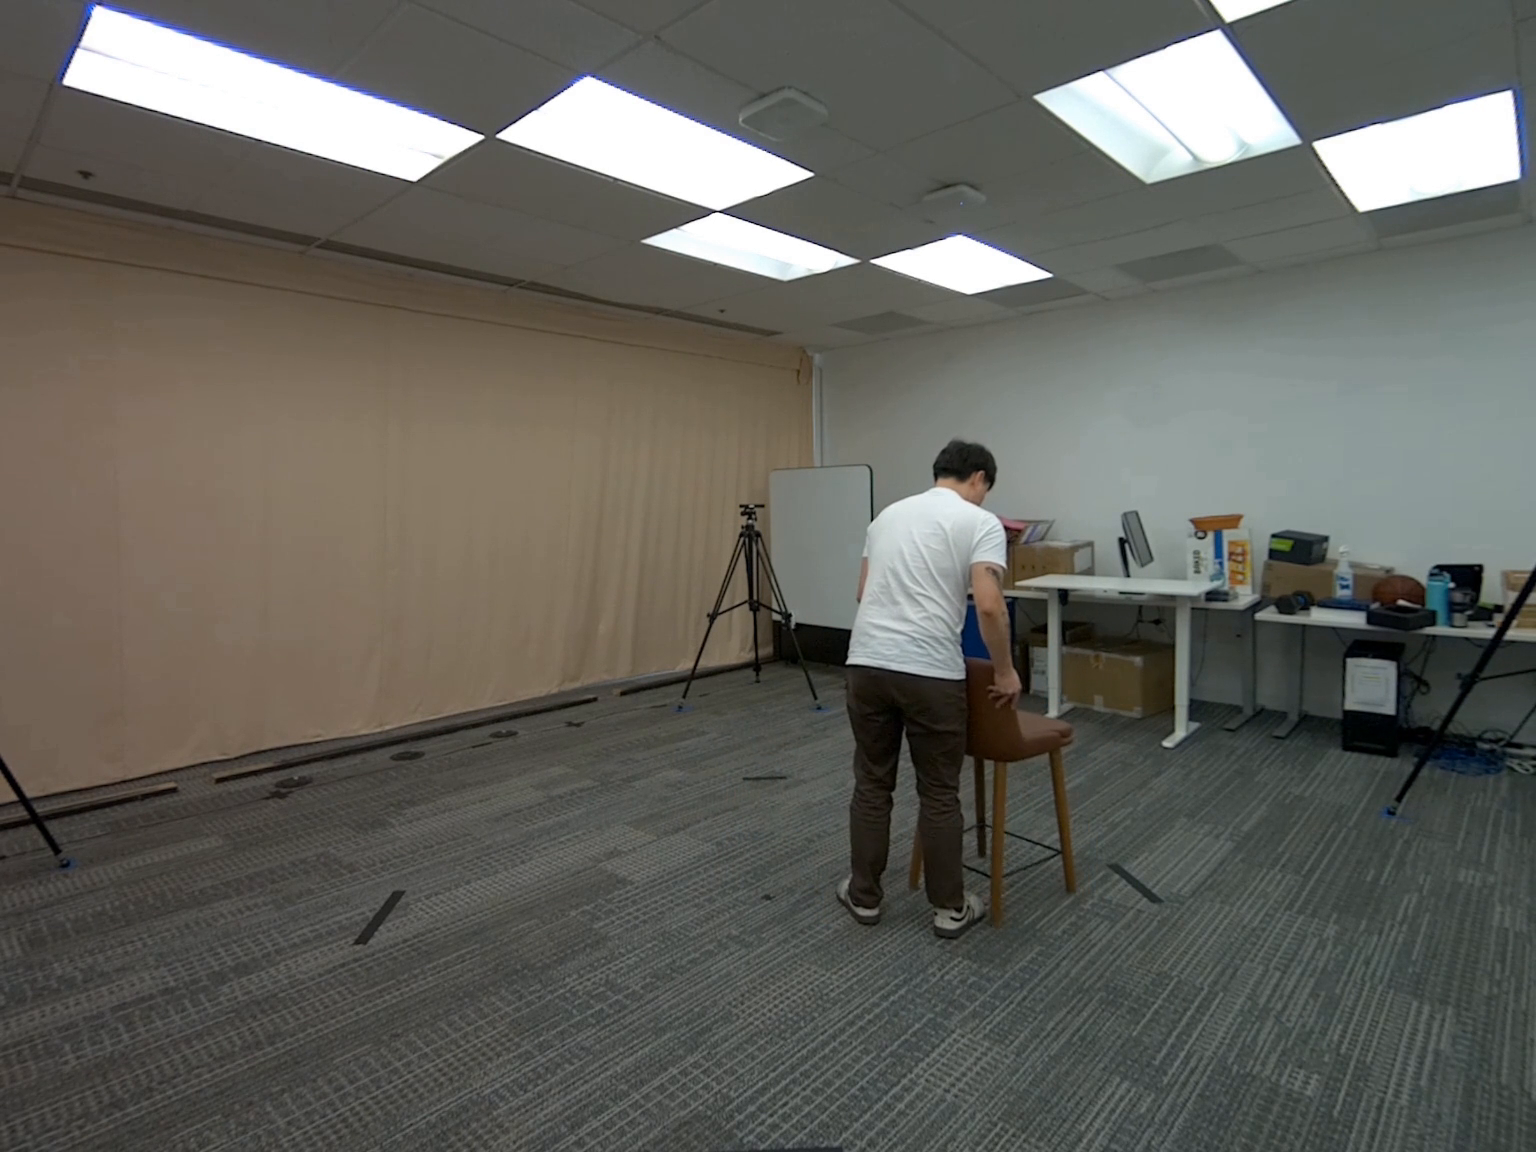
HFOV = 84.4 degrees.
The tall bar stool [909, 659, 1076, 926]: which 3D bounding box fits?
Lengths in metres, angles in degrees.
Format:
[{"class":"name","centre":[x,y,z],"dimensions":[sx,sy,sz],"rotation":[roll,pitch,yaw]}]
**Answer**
[{"class":"tall bar stool","centre":[0.789,0.688,2.997],"dimensions":[0.454,0.887,0.471],"rotation":[-6,6,-38]}]
